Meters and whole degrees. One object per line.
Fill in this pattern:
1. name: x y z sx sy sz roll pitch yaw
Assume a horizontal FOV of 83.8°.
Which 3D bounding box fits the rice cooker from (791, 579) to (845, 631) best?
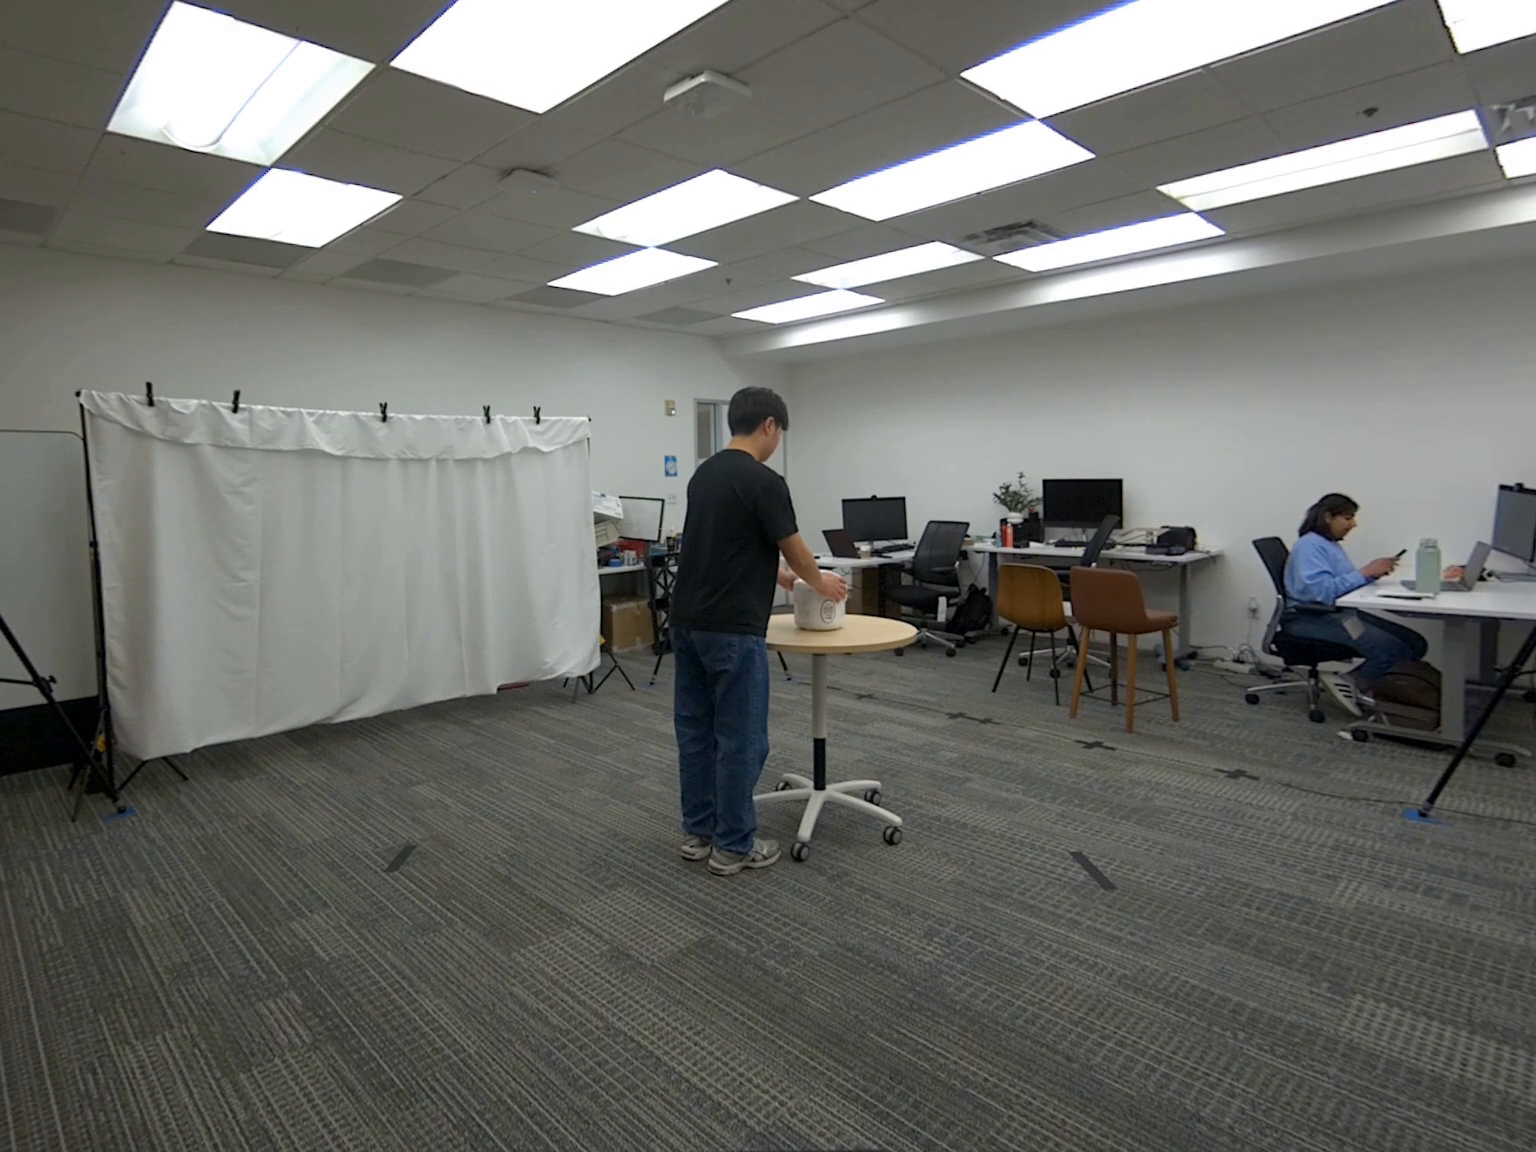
1. rice cooker: 0.212 0.089 3.413 0.218 0.232 0.221 -4 6 -14
